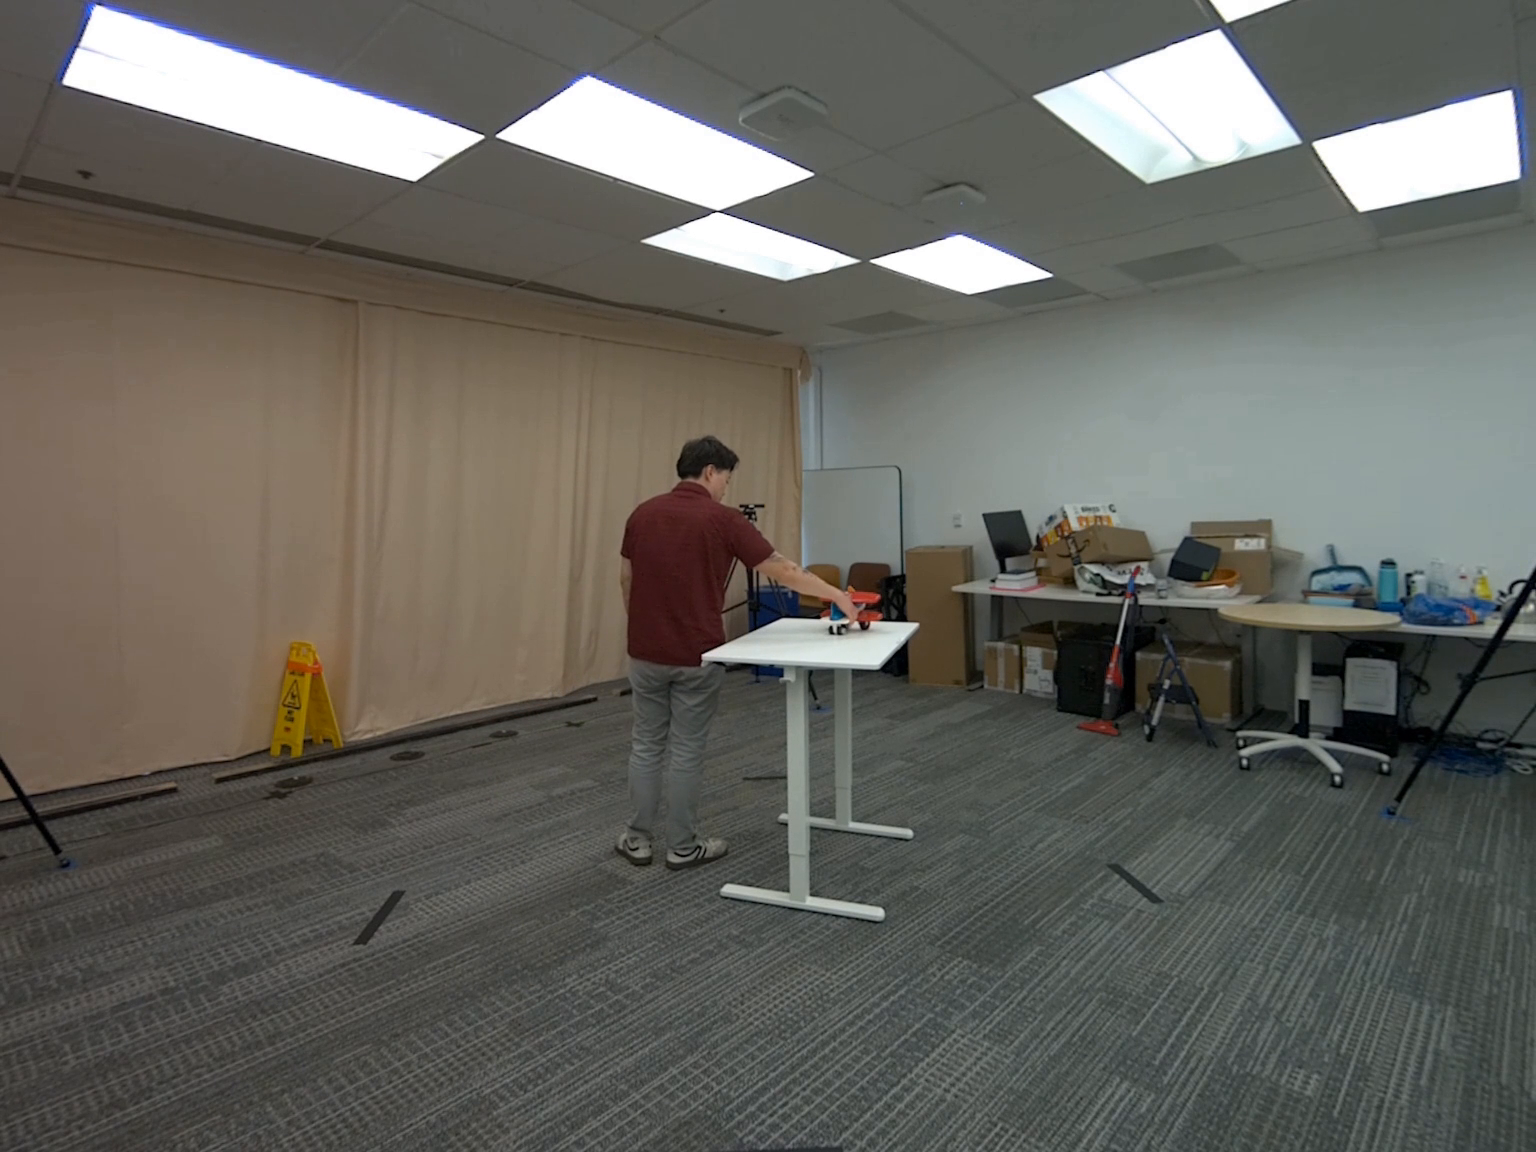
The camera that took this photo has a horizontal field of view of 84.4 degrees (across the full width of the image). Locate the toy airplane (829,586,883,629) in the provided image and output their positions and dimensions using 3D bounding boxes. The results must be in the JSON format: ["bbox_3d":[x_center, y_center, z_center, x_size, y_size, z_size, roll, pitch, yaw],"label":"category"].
[{"bbox_3d":[0.334,0.150,3.341,0.252,0.156,0.259,1,5,3],"label":"toy airplane"}]
